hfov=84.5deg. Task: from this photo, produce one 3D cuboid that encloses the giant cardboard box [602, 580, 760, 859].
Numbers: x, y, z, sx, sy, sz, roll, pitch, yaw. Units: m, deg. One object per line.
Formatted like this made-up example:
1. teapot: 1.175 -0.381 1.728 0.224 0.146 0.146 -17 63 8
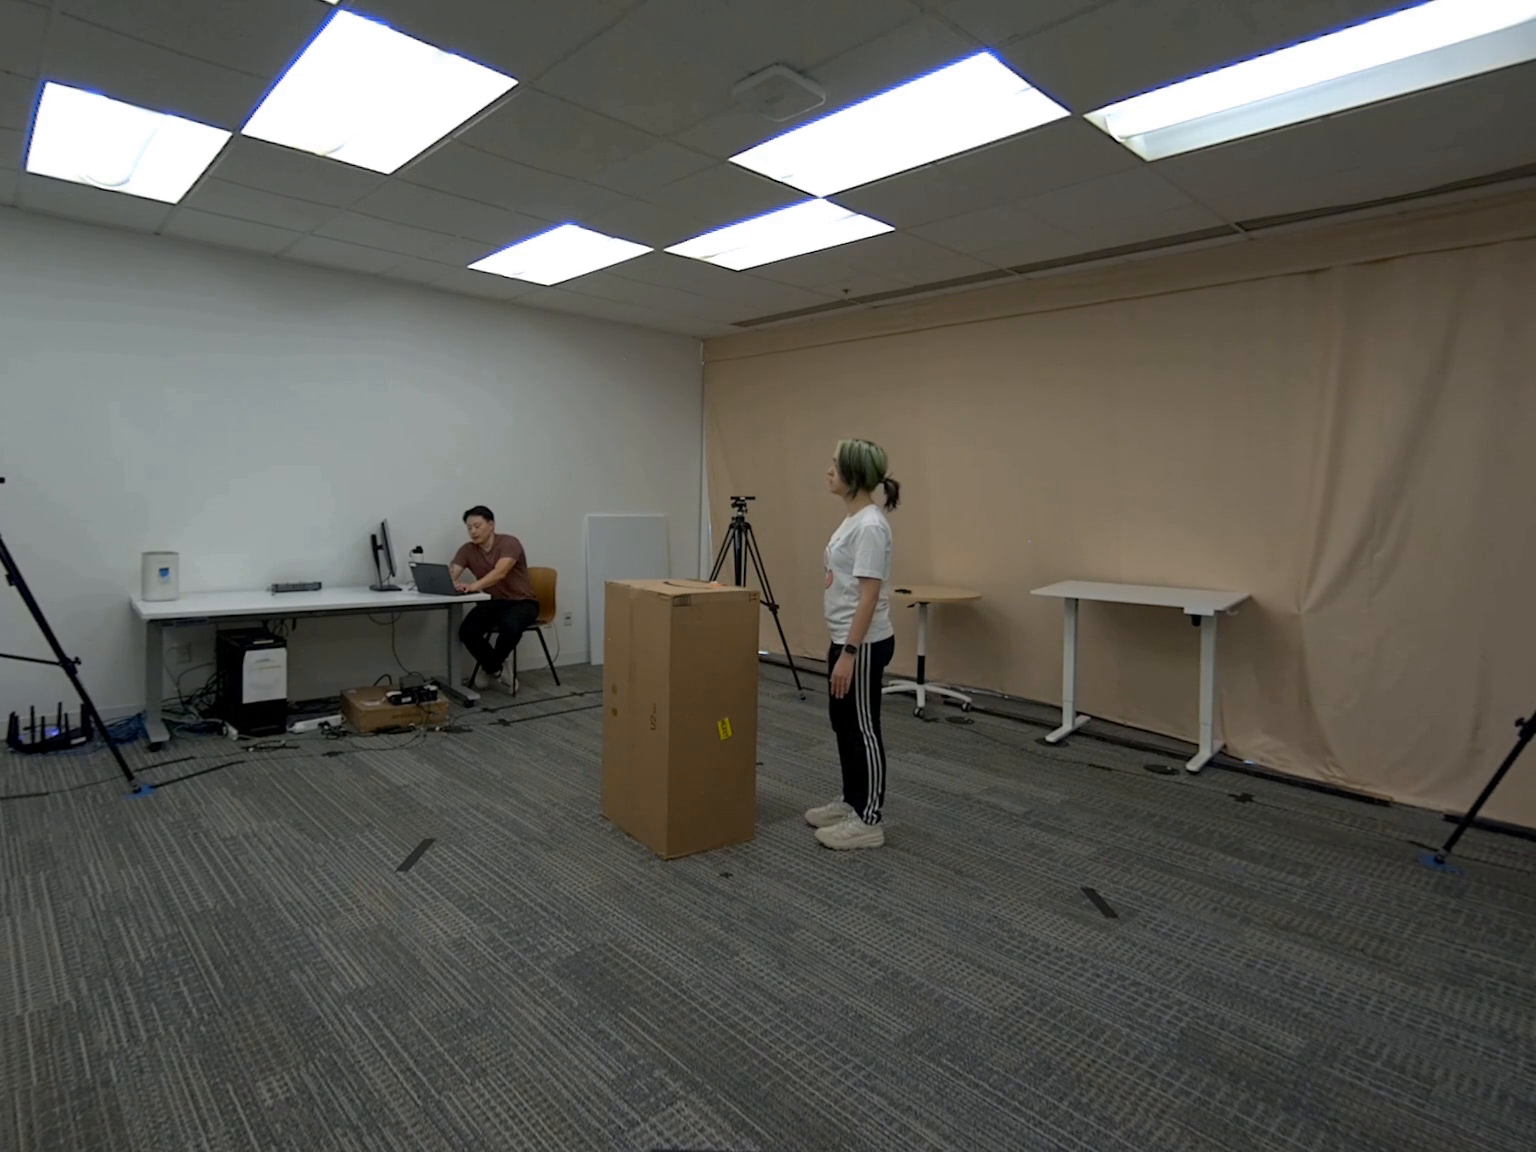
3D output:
1. giant cardboard box: -0.386 0.555 3.539 0.437 1.025 0.598 -1 4 -37
